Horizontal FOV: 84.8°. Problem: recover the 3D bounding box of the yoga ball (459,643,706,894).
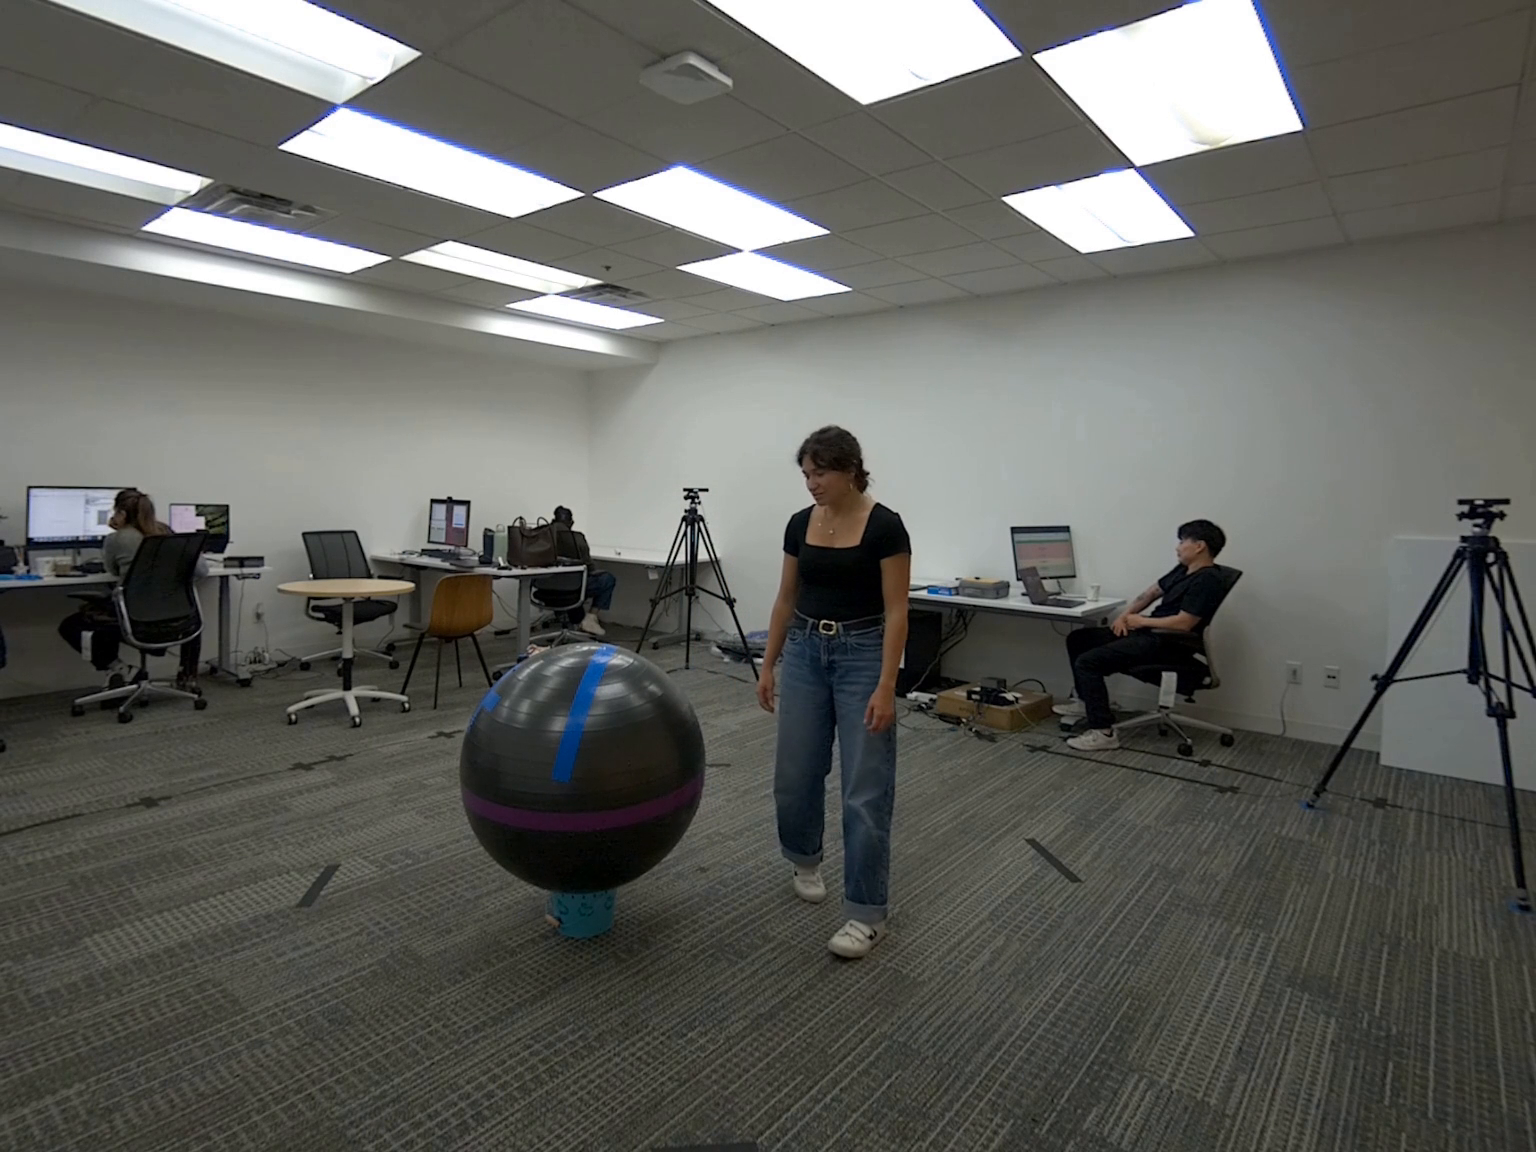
[{"bbox_3d":[-0.587,0.593,2.677,0.757,0.755,0.762,1,4,-2],"label":"yoga ball"}]
